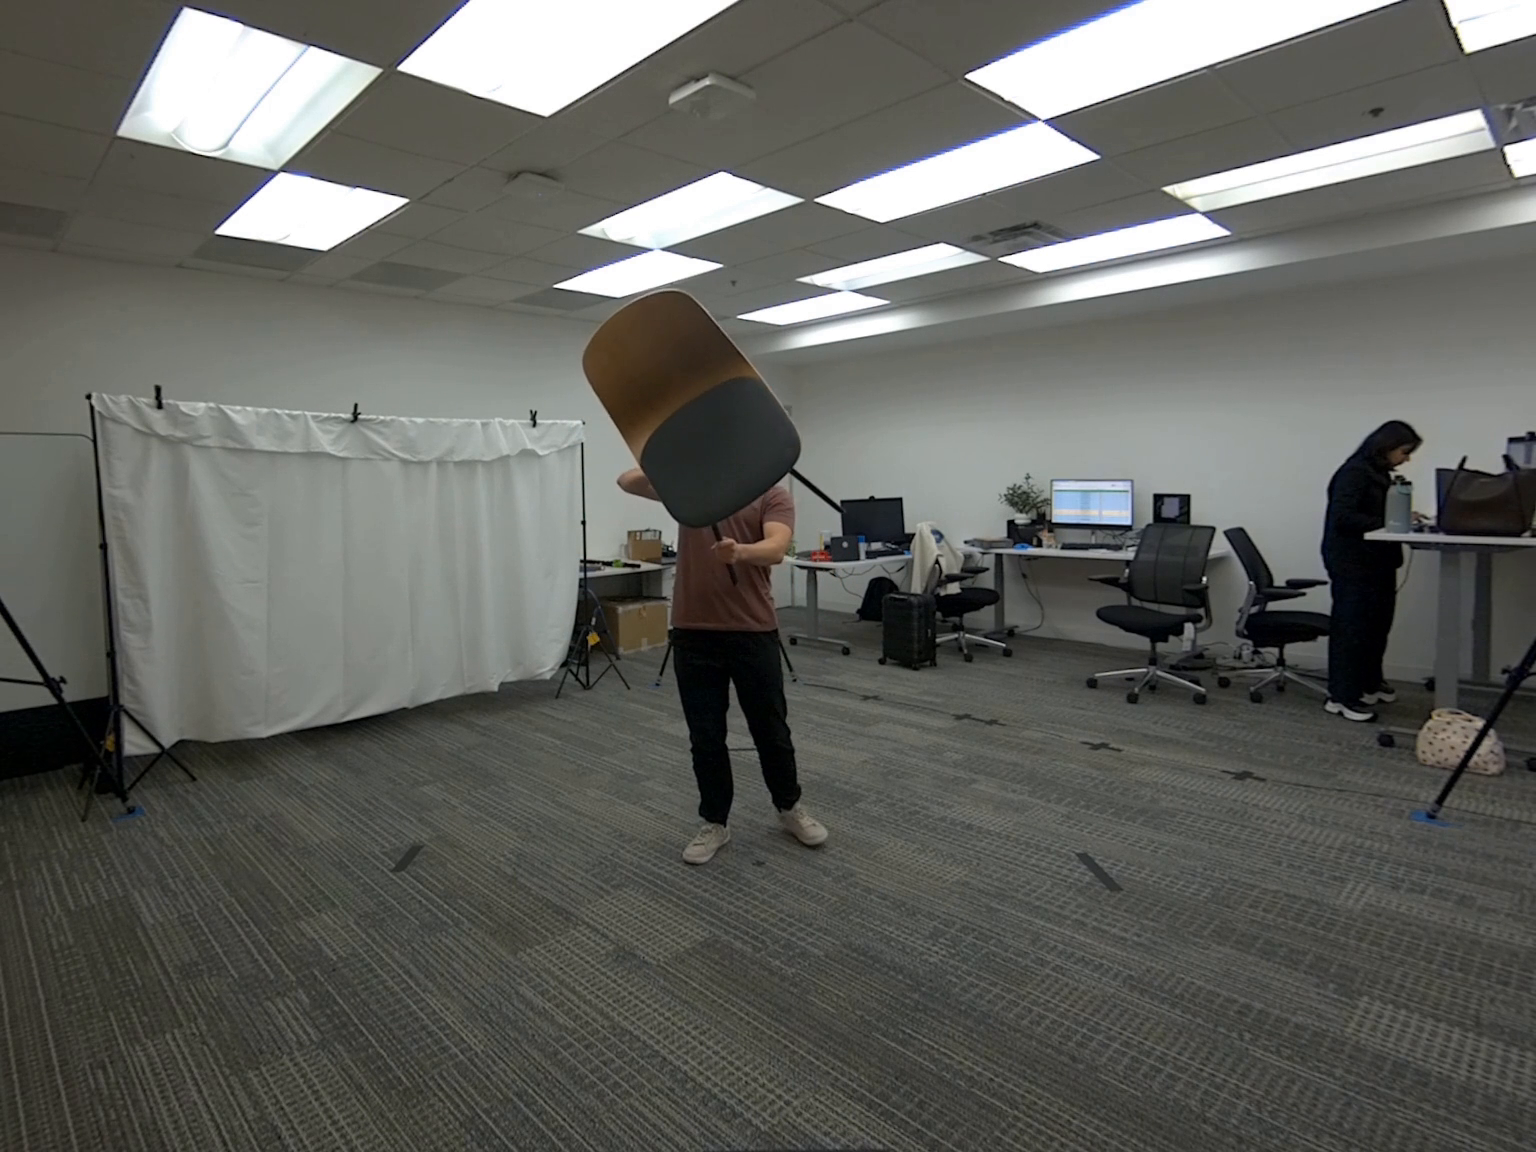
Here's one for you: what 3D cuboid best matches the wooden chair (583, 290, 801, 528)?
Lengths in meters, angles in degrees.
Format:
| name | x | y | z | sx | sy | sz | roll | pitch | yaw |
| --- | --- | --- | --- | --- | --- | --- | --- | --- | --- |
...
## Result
| name | x | y | z | sx | sy | sz | roll | pitch | yaw |
| --- | --- | --- | --- | --- | --- | --- | --- | --- | --- |
| wooden chair | -0.159 | -0.402 | 2.673 | 0.478 | 0.542 | 0.845 | -34 | -34 | 4 |
